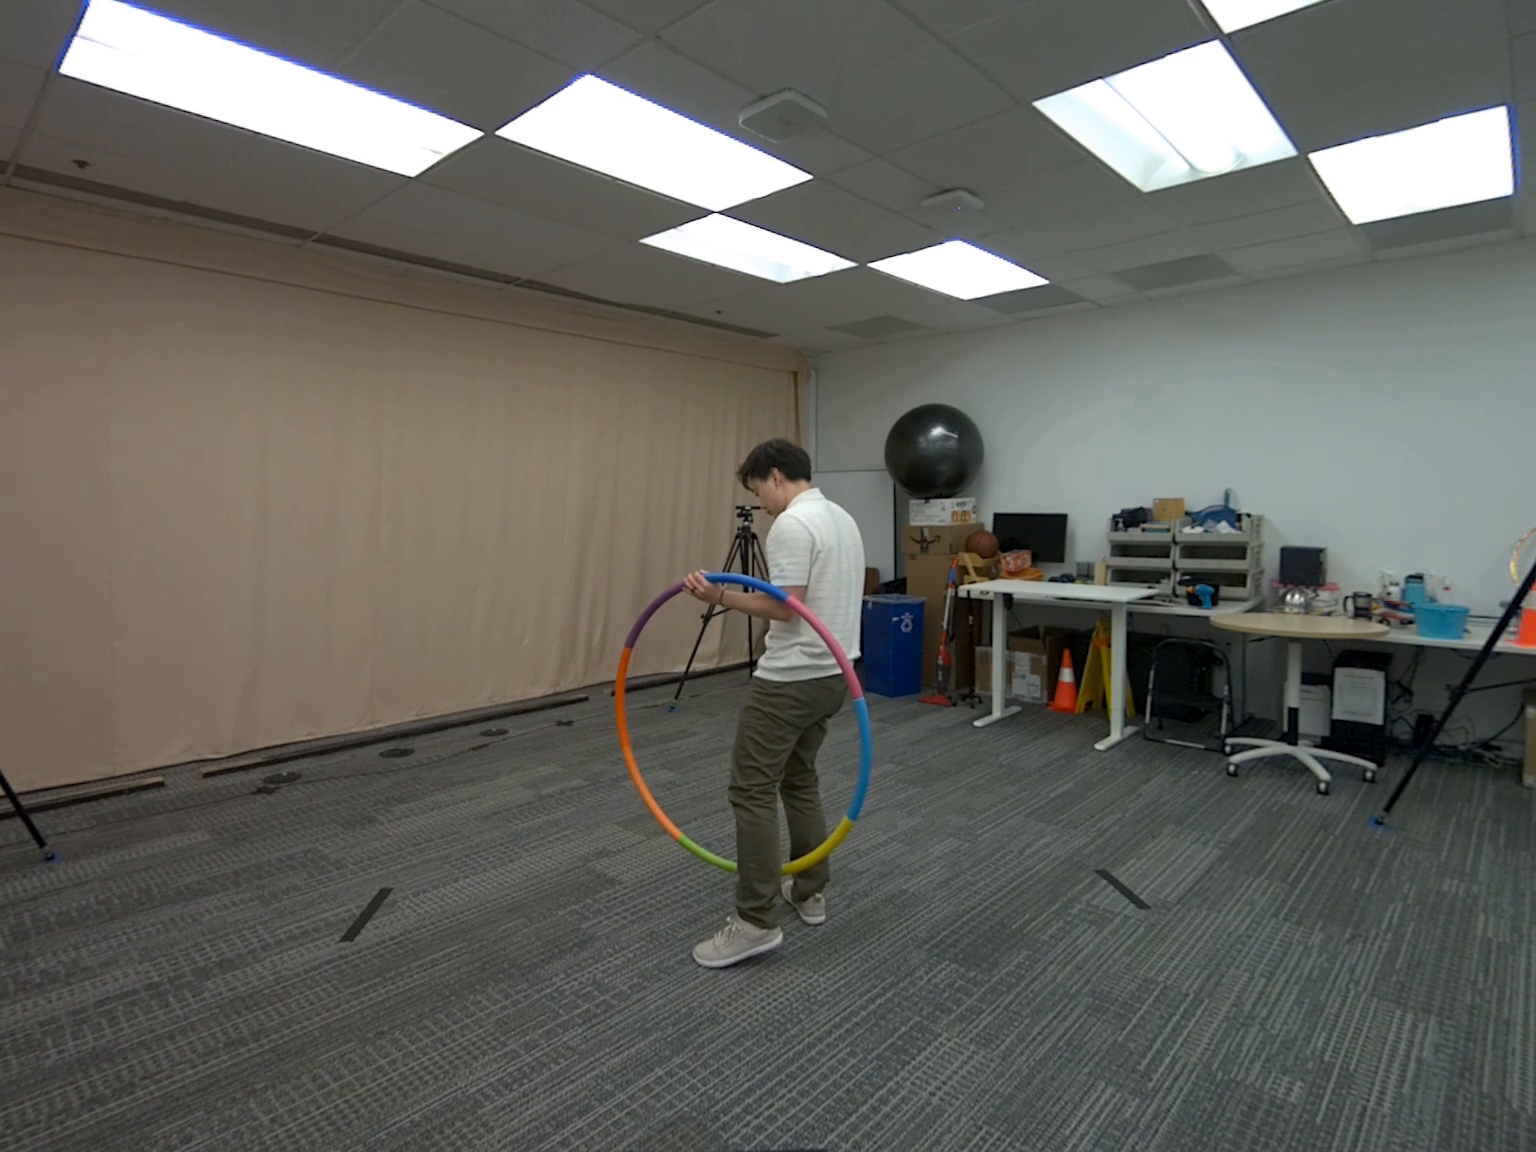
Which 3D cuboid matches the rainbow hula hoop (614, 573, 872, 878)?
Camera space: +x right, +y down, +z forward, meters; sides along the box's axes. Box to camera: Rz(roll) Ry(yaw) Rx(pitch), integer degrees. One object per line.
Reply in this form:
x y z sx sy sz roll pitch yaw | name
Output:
-0.120 0.483 2.732 1.008 0.975 0.034 3 6 33 | rainbow hula hoop
